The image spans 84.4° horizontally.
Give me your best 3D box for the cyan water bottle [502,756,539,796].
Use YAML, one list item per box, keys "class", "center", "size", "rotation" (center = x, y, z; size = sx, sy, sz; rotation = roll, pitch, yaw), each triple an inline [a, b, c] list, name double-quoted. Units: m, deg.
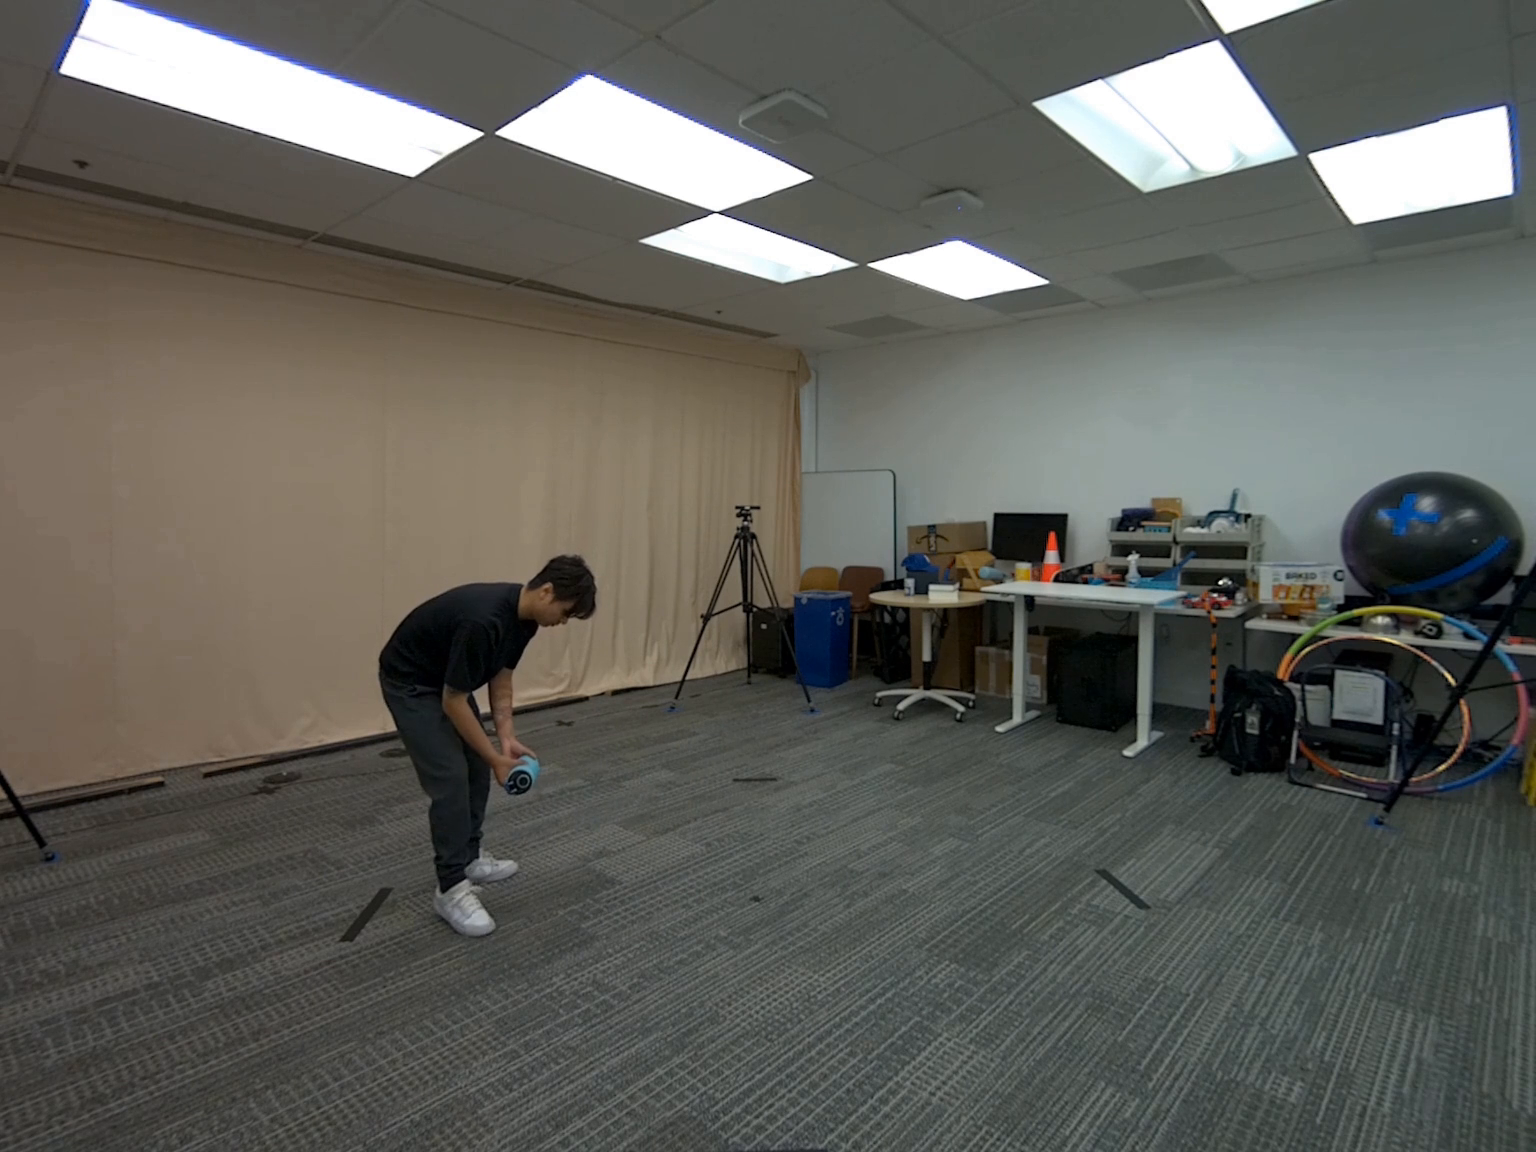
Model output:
- class: "cyan water bottle"
  center: [-0.848, 0.697, 2.892]
  size: [0.091, 0.092, 0.285]
  rotation: [0, -1, -9]
